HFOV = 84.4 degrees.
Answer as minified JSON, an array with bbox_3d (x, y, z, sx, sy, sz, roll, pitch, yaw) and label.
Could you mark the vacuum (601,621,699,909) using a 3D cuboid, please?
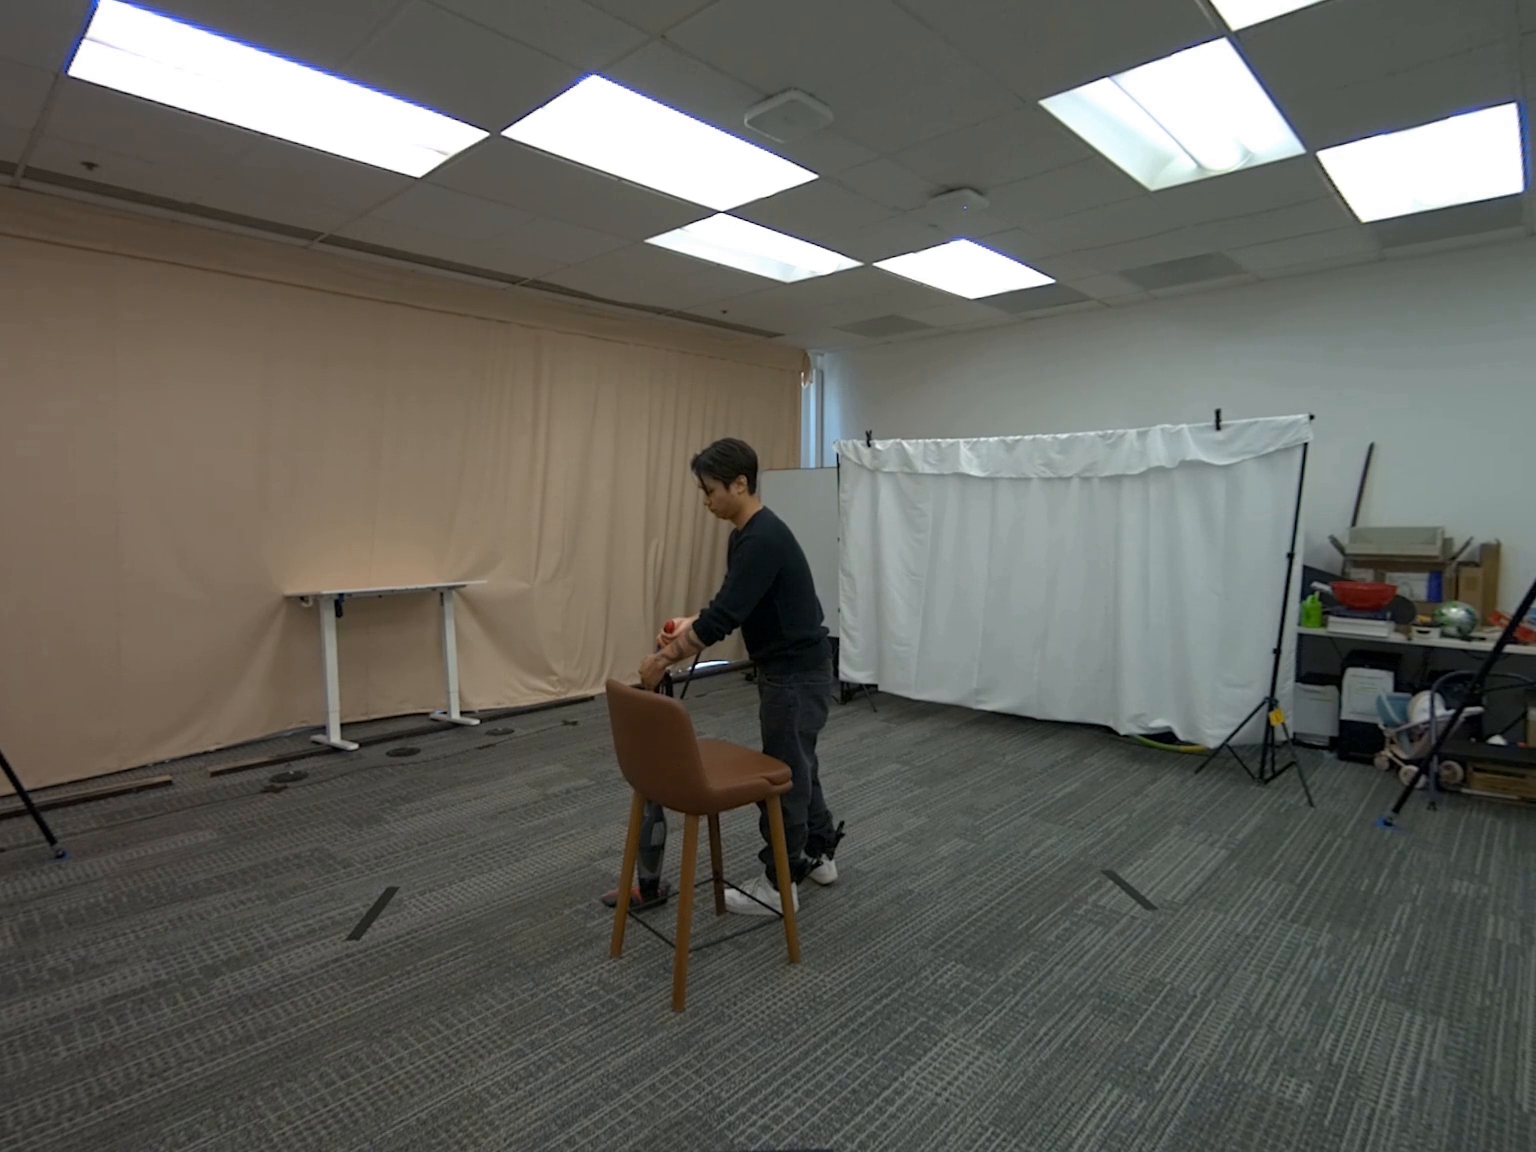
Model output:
[{"bbox_3d":[-0.381,0.661,2.823,0.245,1.041,0.149,-2,19,-32],"label":"vacuum"}]
